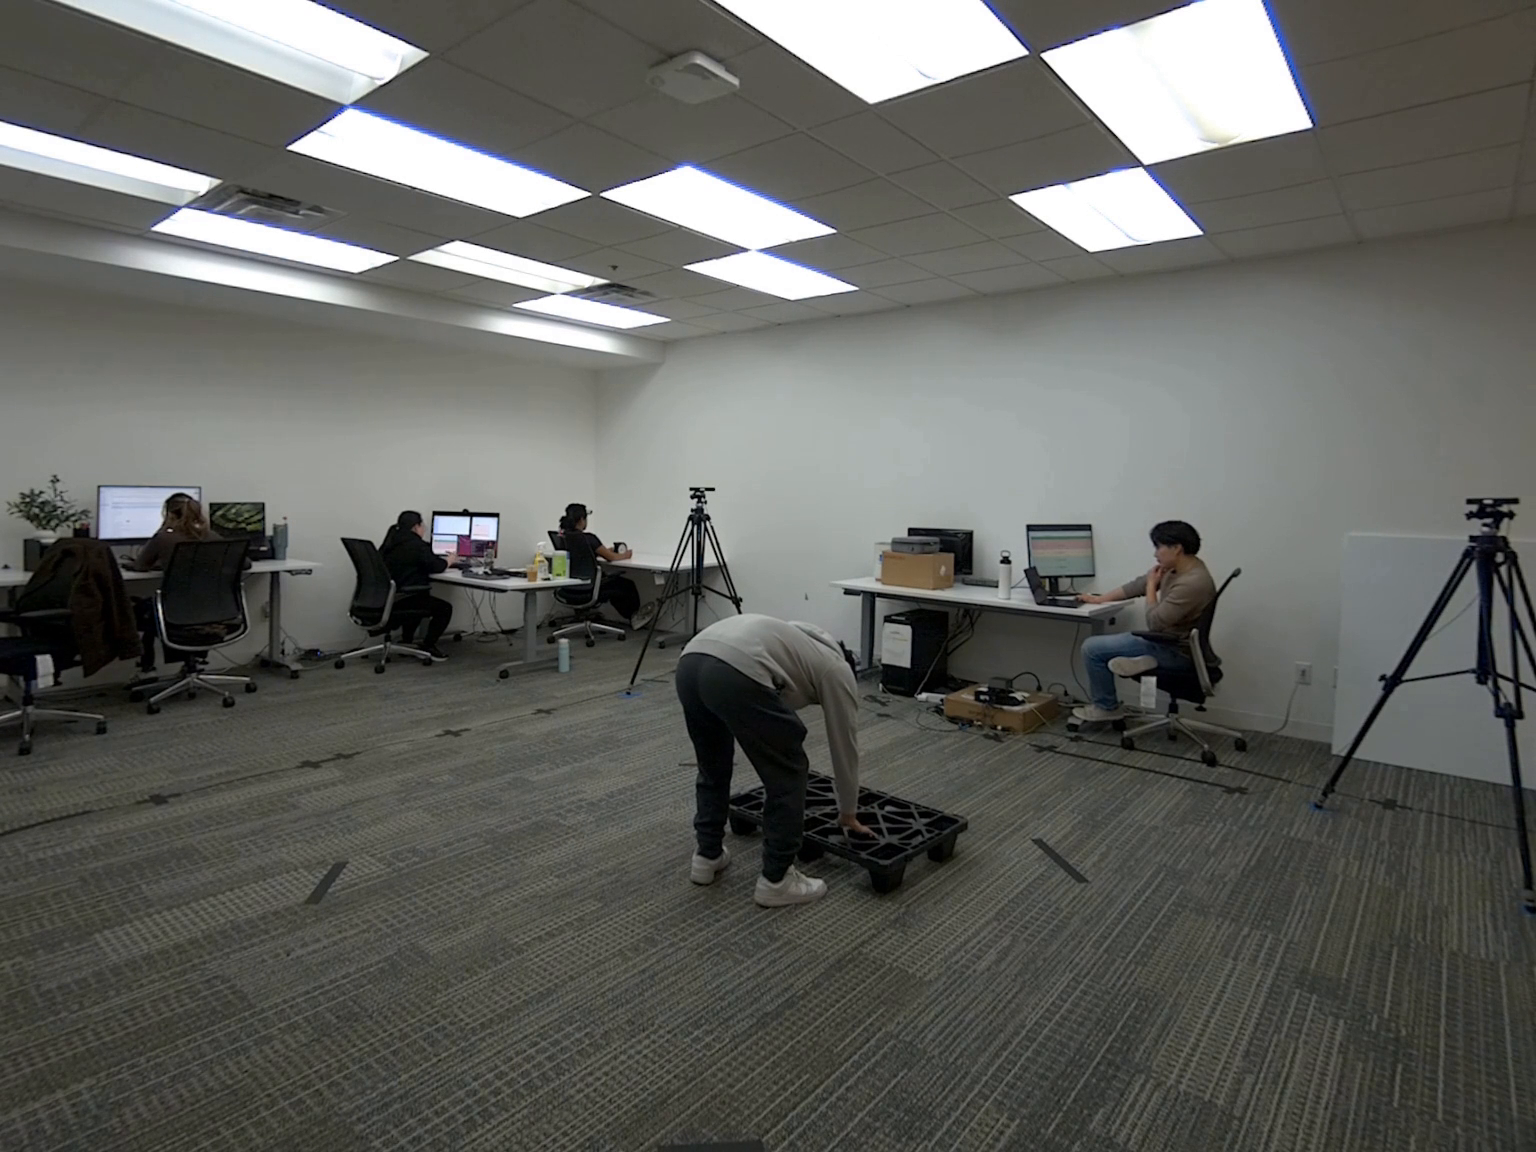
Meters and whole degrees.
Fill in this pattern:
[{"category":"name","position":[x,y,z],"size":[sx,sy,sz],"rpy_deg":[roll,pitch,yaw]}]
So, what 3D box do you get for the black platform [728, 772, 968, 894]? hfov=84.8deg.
[{"category":"black platform","position":[0.278,0.984,3.350],"size":[0.833,0.143,0.587],"rpy_deg":[6,8,42]}]
